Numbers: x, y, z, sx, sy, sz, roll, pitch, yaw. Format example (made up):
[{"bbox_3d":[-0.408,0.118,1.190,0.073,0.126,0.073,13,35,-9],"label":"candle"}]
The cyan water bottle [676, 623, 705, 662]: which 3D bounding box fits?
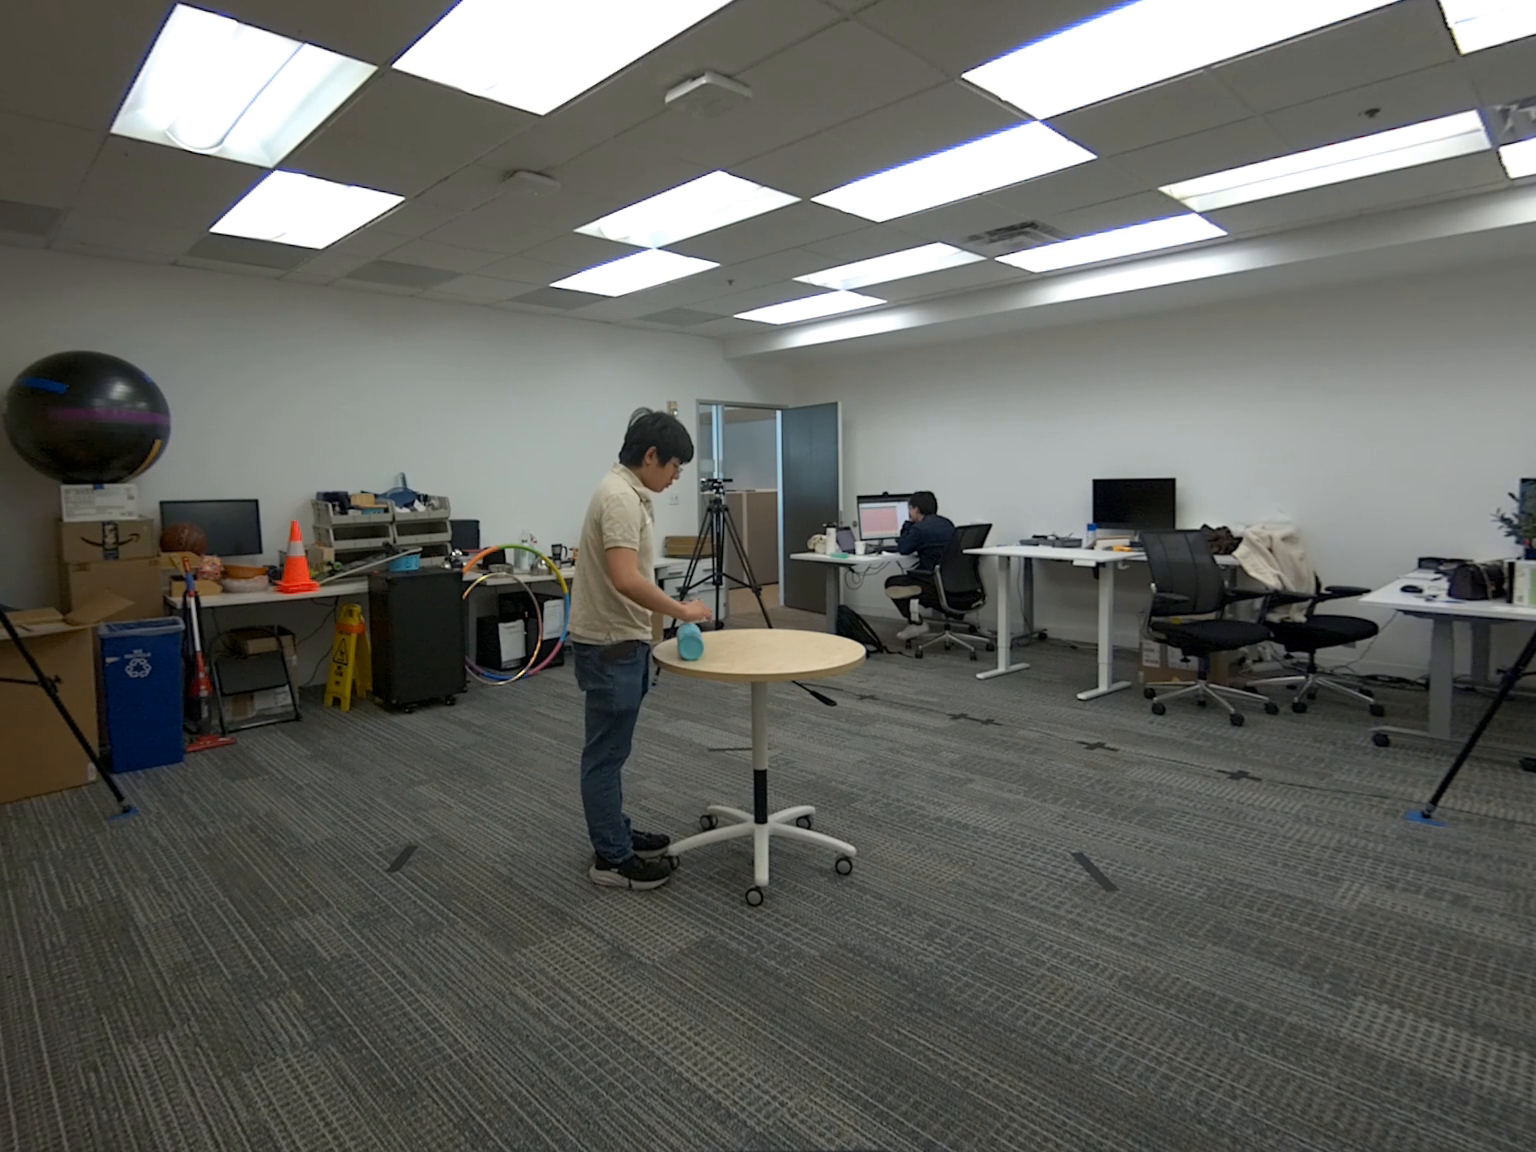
[{"bbox_3d":[-0.281,0.223,3.040,0.092,0.092,0.287,-2,7,-8],"label":"cyan water bottle"}]
